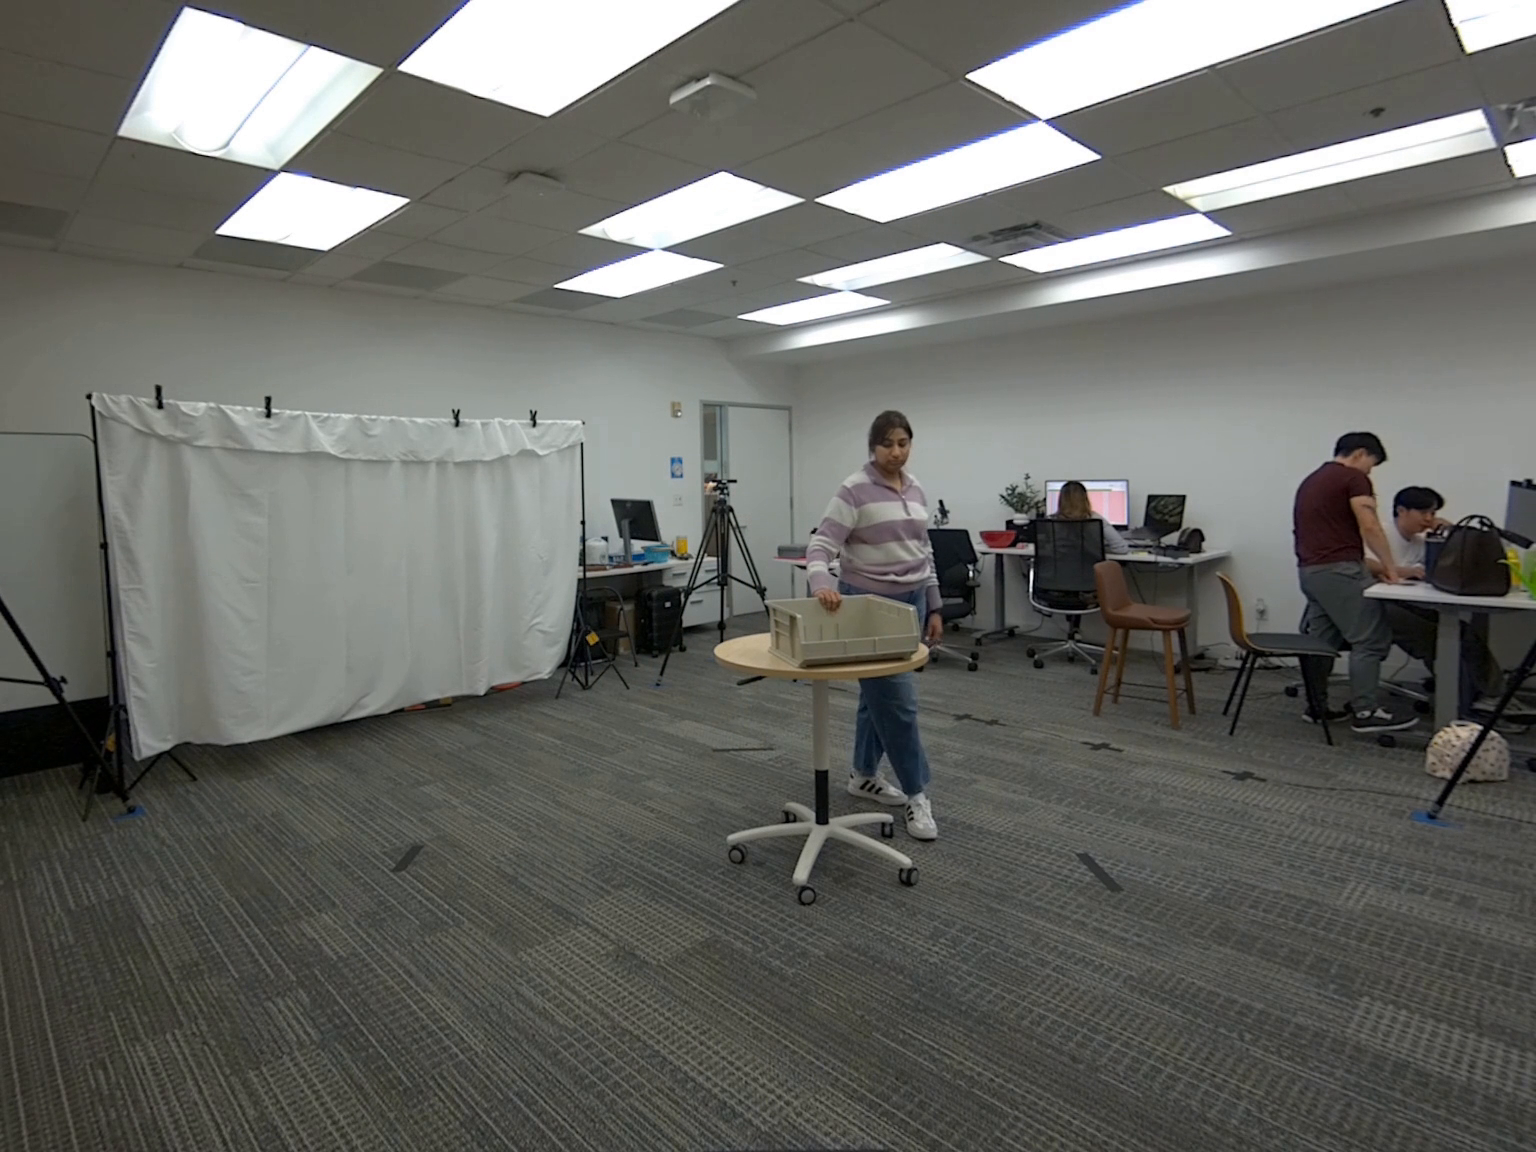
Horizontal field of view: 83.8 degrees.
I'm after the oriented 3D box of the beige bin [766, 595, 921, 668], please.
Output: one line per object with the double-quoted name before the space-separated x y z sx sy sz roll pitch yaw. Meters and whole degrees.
"beige bin" 0.241 0.182 2.934 0.417 0.188 0.383 -3 3 -15
